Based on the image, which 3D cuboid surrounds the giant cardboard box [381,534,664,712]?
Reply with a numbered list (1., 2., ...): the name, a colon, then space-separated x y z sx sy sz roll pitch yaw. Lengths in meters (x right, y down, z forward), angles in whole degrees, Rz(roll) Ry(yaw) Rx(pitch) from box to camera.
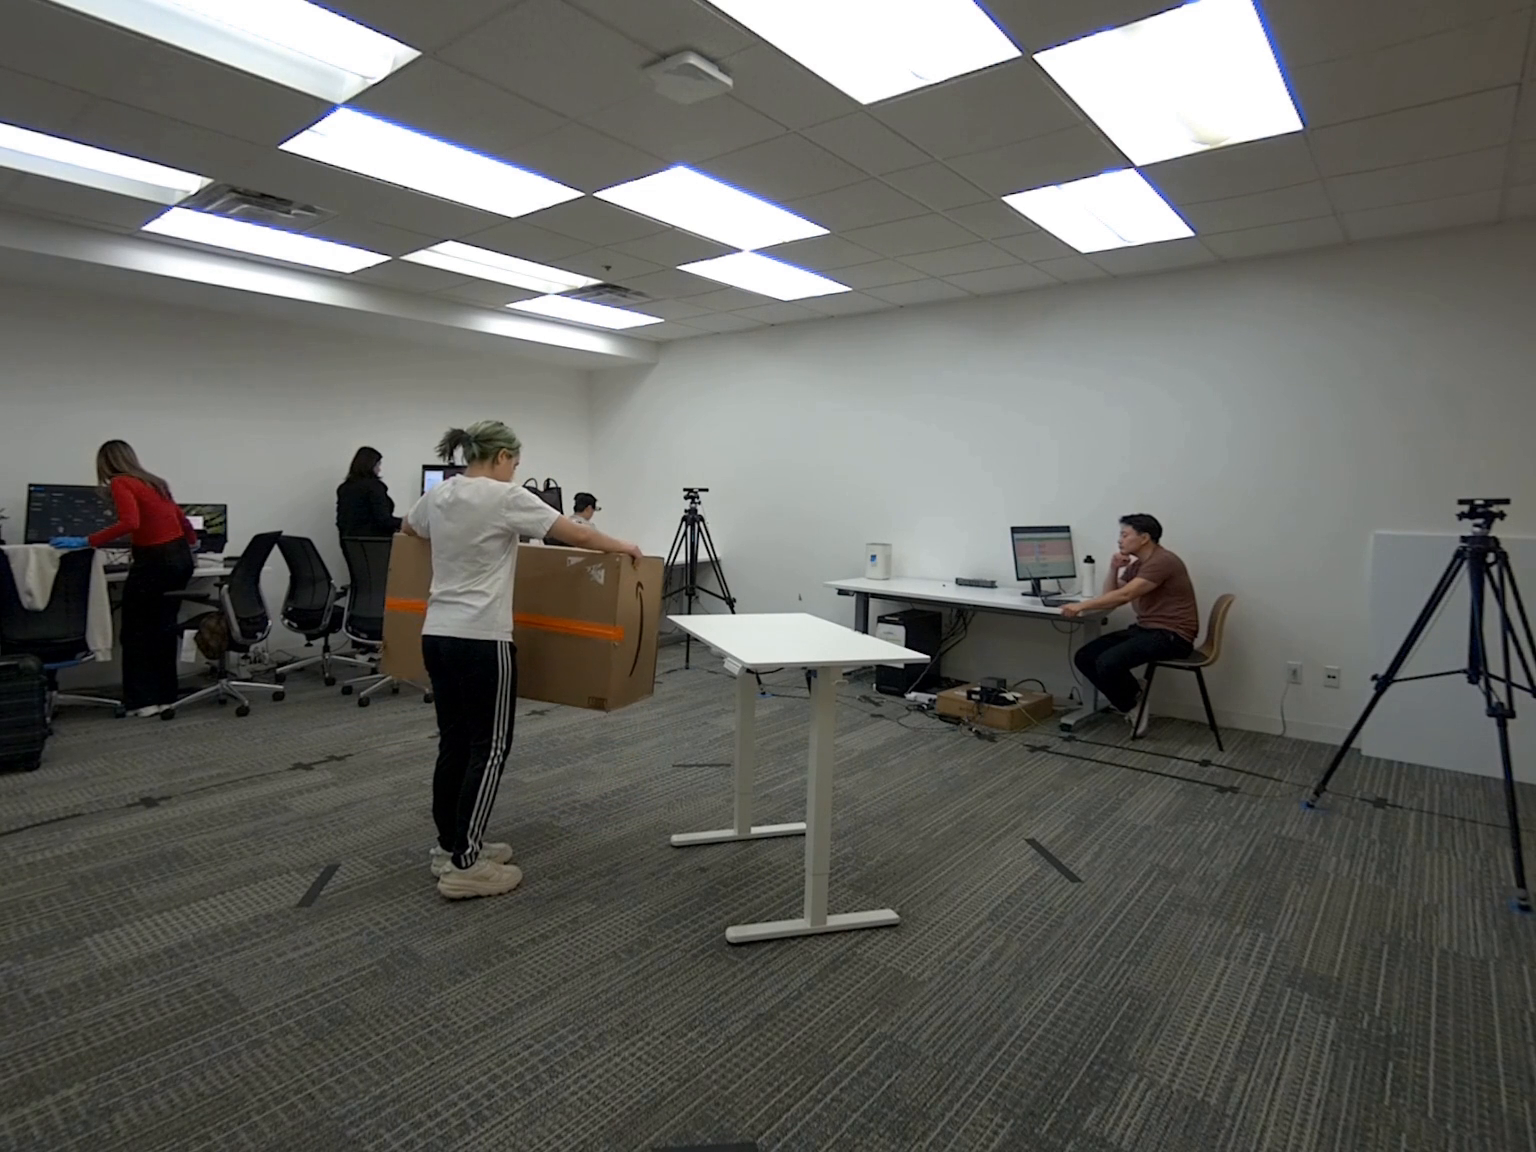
1. giant cardboard box: -1.006 0.164 3.455 1.048 0.584 0.438 5 1 18
